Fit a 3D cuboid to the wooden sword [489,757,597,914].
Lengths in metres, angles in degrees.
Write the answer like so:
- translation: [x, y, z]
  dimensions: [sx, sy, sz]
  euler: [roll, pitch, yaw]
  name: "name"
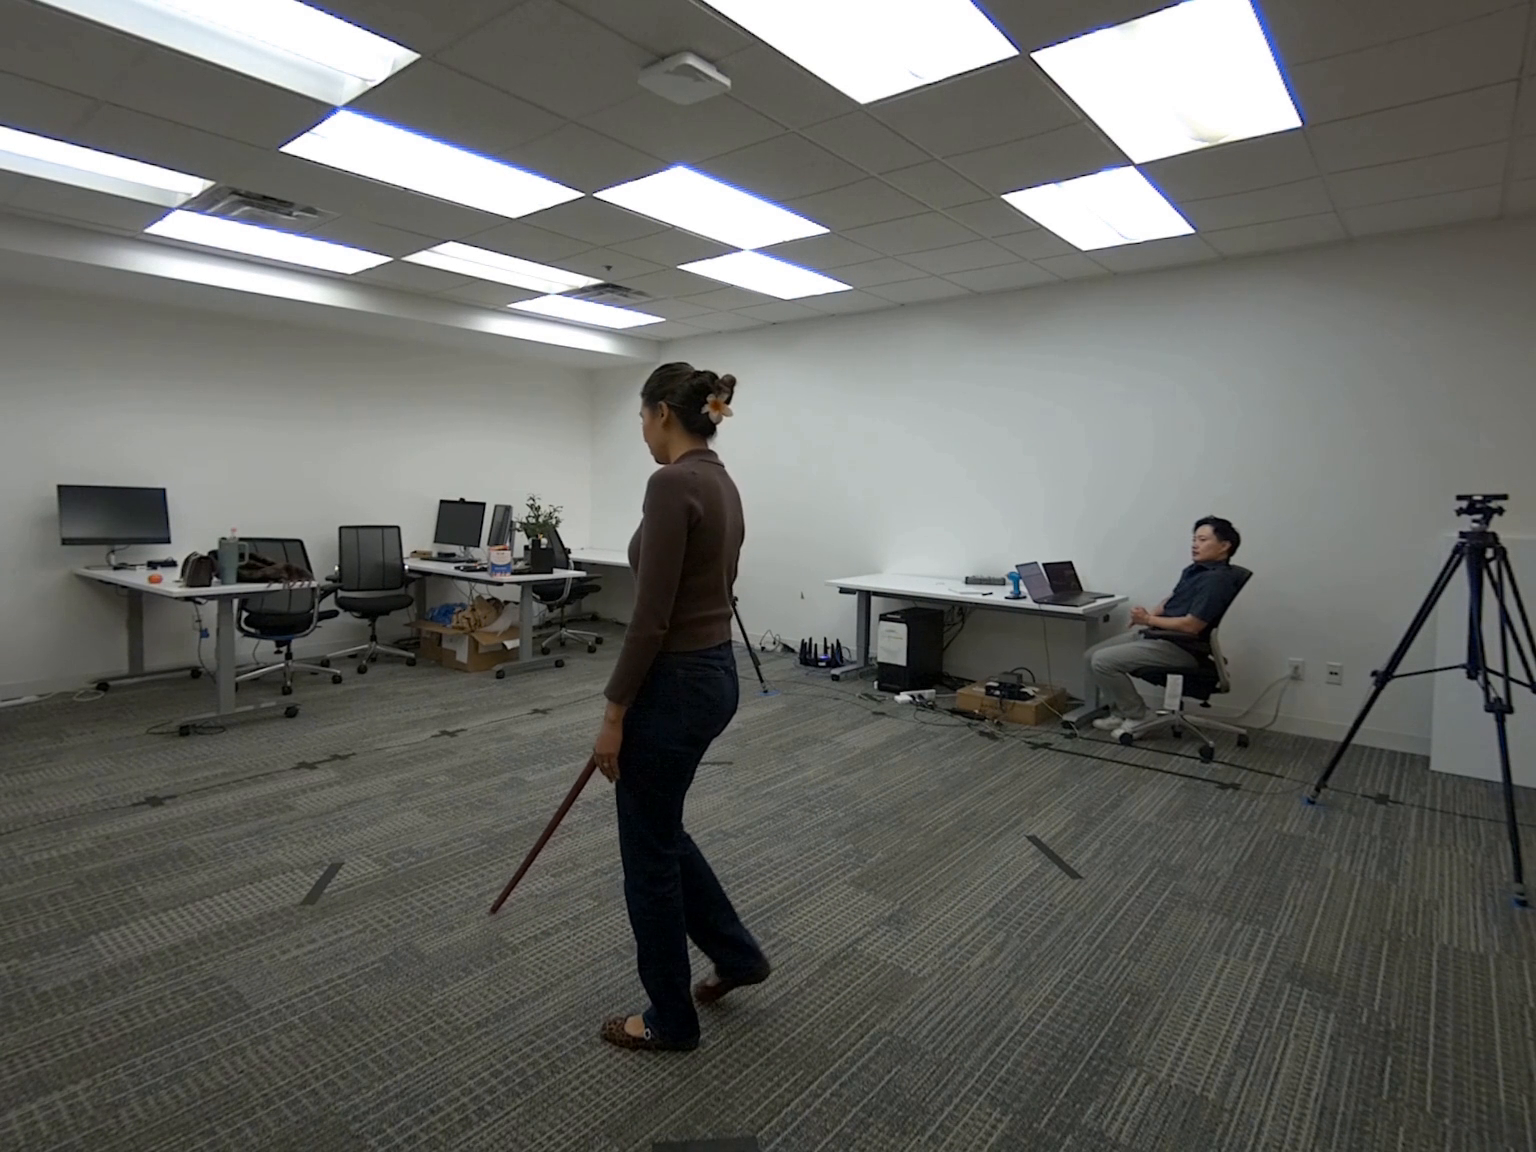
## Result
- translation: [-0.659, 0.740, 2.547]
  dimensions: [0.024, 1.021, 0.052]
  euler: [33, 27, -8]
  name: "wooden sword"
